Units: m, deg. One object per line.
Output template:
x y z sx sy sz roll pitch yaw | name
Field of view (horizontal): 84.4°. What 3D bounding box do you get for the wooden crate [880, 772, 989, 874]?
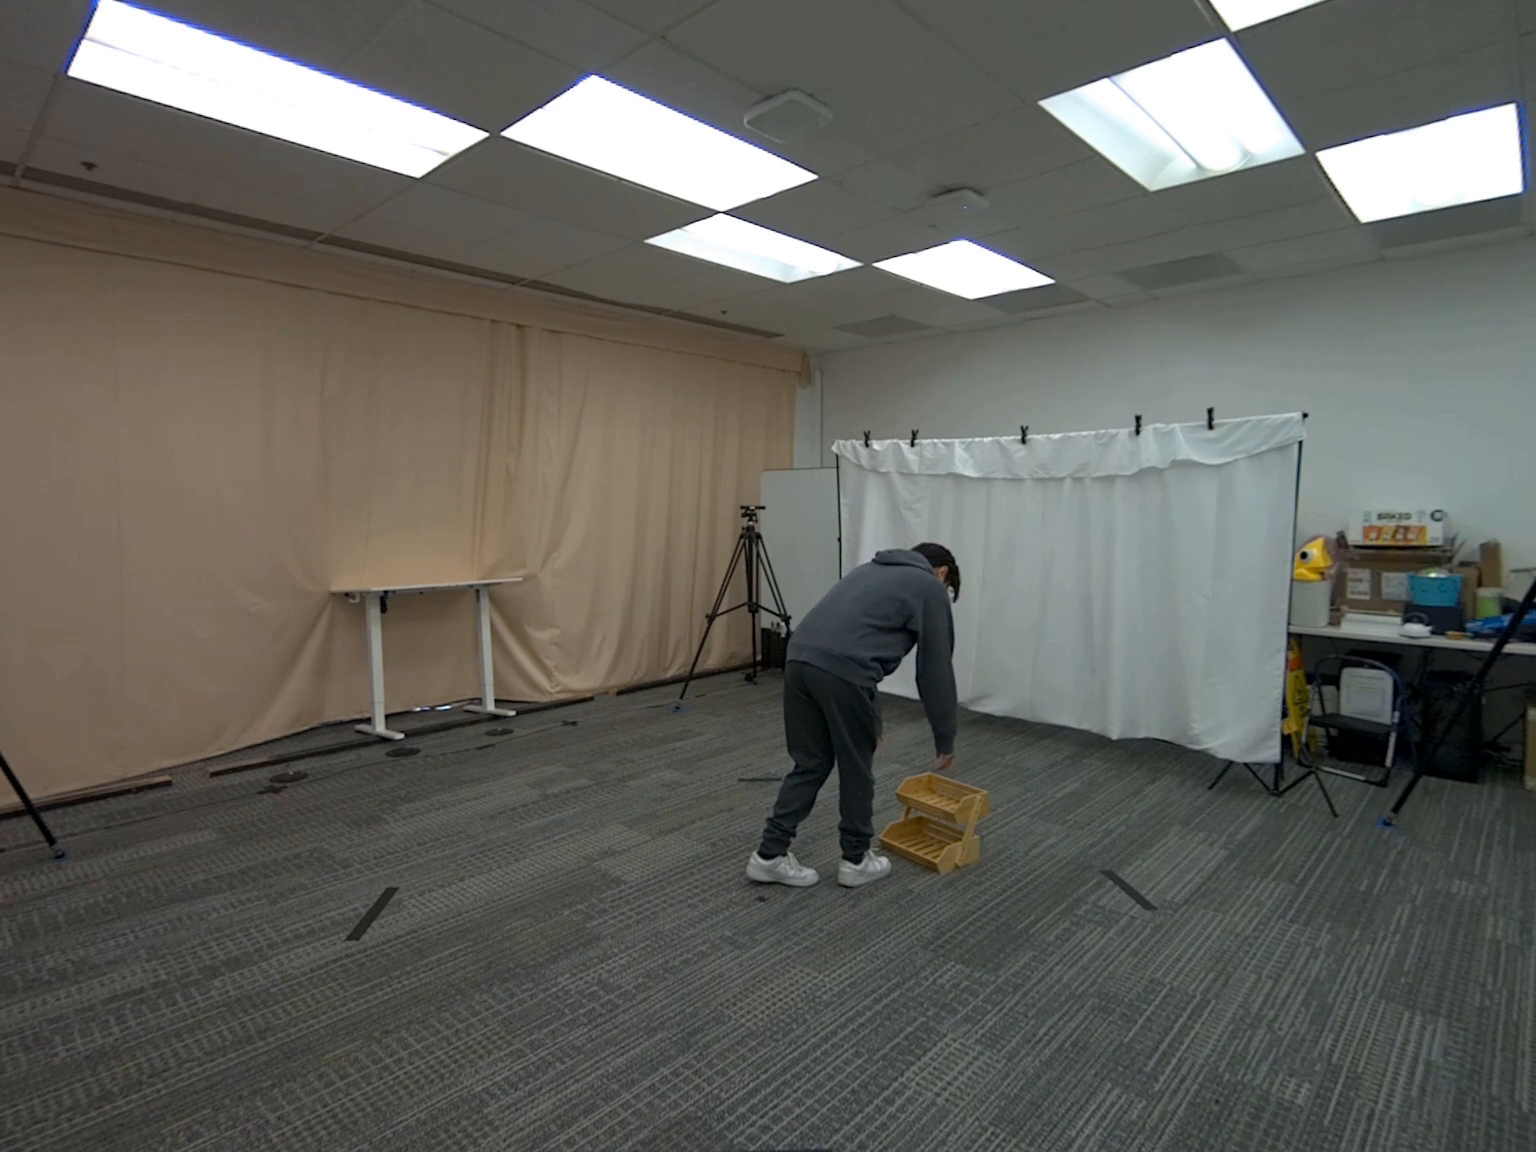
0.665 0.974 3.377 0.293 0.273 0.335 -2 4 -38 | wooden crate
